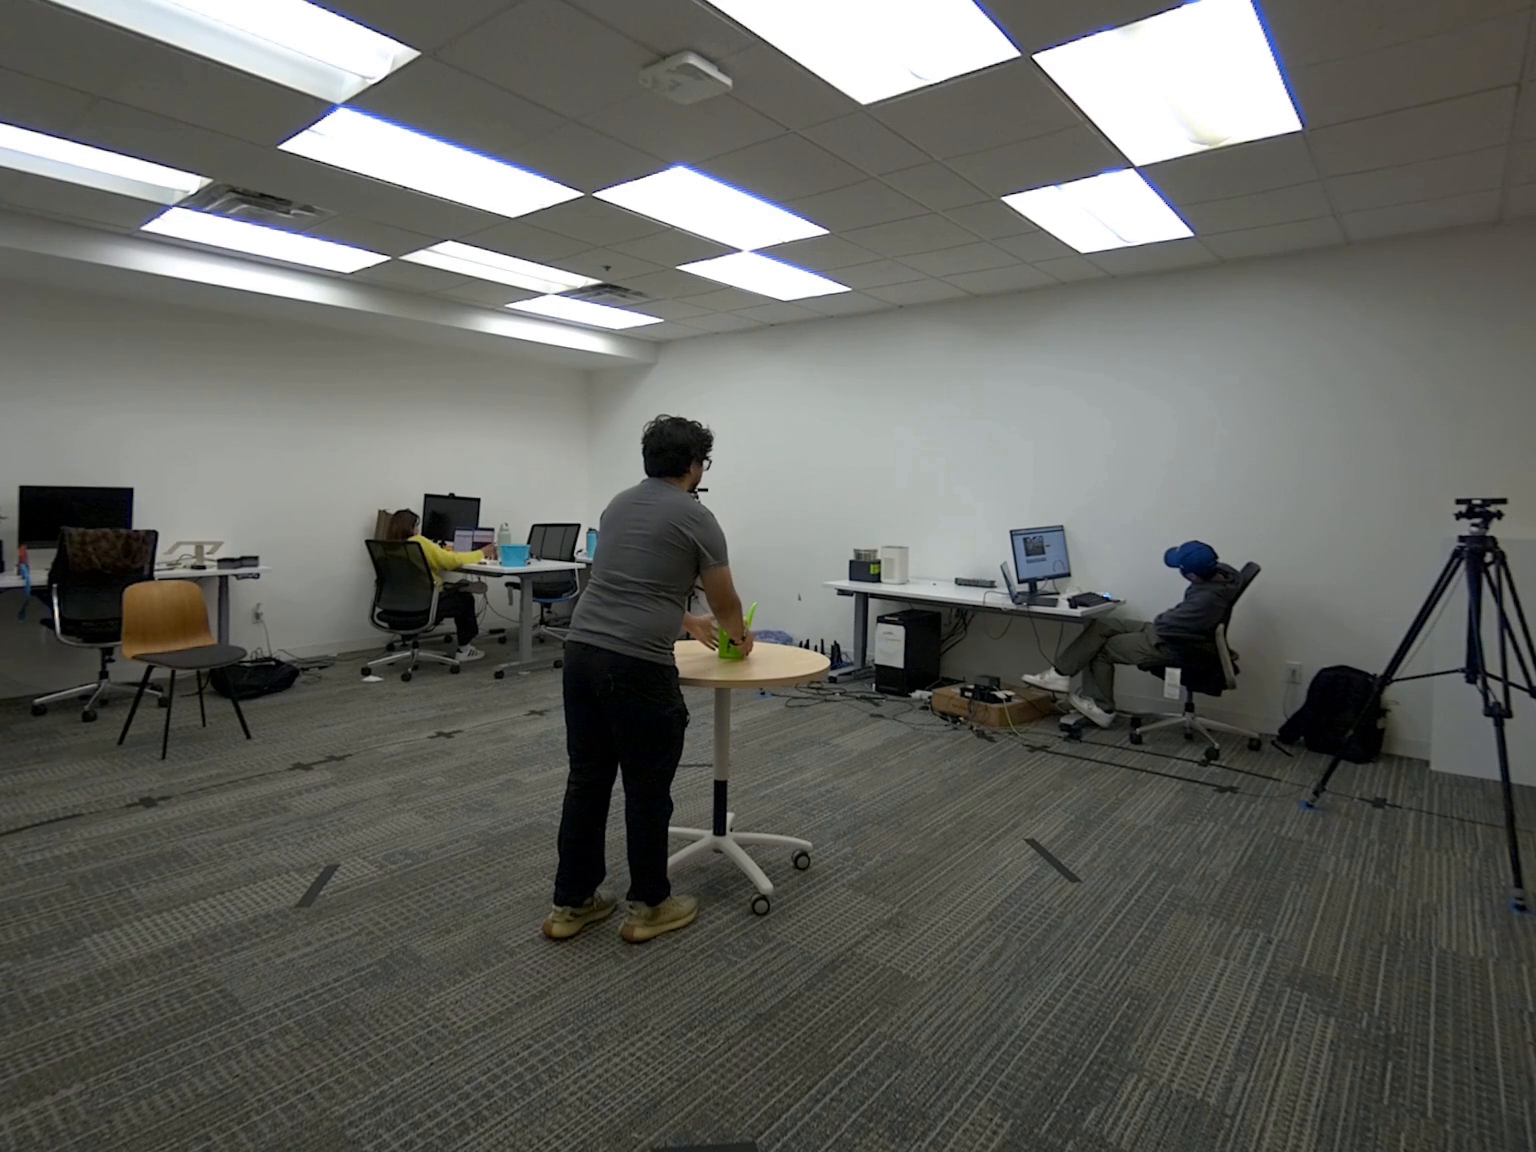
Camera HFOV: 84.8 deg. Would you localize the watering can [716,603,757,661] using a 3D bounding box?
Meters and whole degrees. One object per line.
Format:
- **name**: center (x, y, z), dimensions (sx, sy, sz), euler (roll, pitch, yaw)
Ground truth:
- **watering can**: center (-0.106, 0.198, 3.124), dimensions (0.101, 0.176, 0.270), euler (3, 7, 43)
